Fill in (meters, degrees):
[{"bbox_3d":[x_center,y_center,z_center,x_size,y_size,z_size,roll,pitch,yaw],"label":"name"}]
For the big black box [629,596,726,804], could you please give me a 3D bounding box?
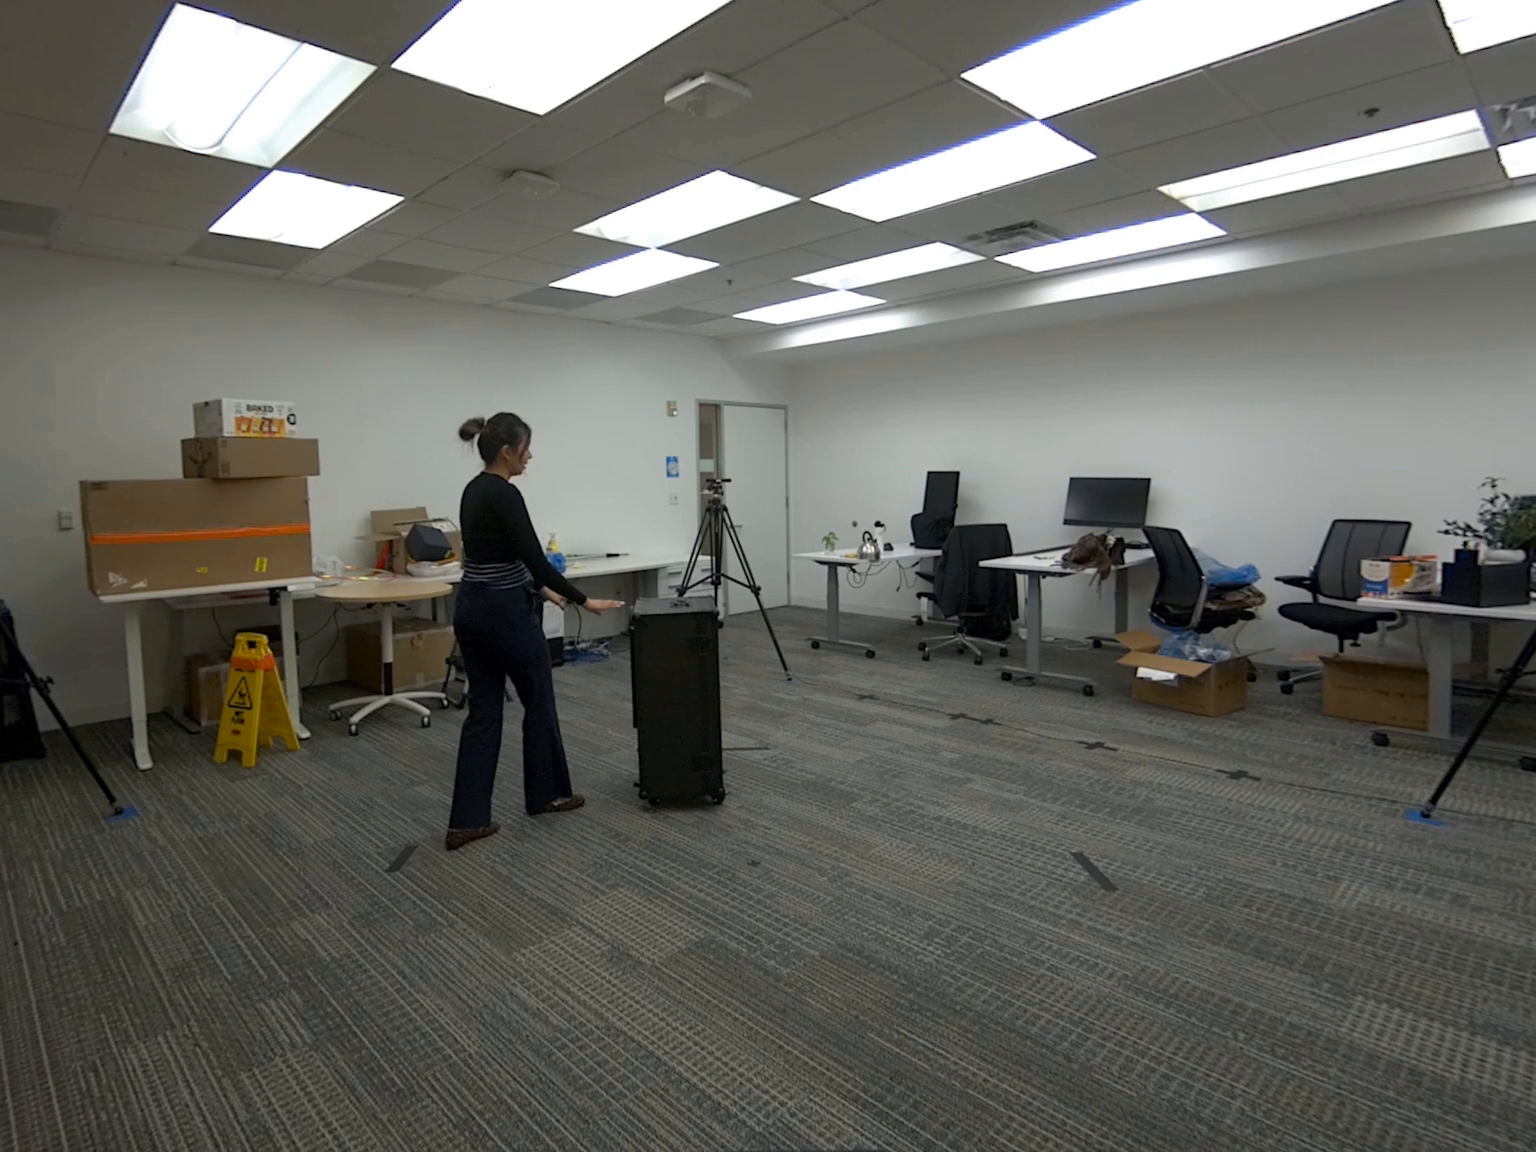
[{"bbox_3d":[-0.406,0.548,3.801,0.394,0.858,0.526,-3,5,-6],"label":"big black box"}]
